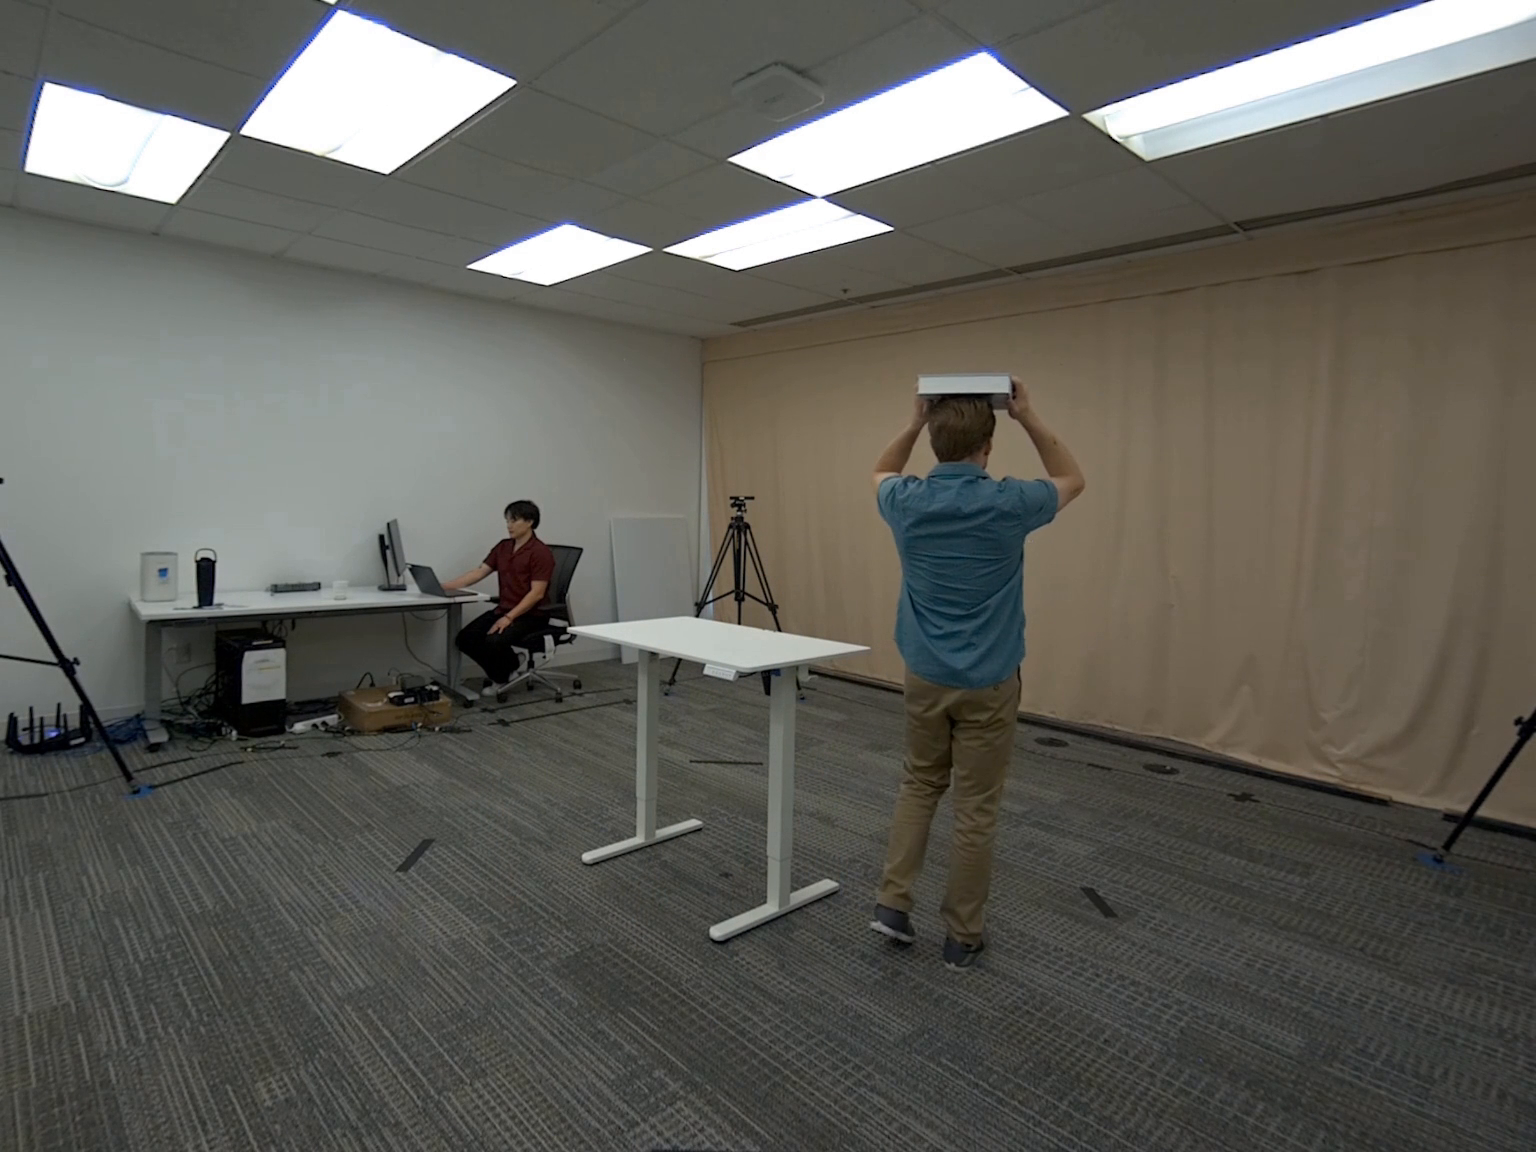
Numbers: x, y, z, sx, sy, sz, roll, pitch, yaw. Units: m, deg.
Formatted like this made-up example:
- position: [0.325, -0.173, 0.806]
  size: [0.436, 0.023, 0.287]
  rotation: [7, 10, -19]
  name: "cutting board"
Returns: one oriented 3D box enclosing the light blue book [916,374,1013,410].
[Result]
- position: [0.589, -0.542, 2.494]
  size: [0.266, 0.059, 0.187]
  rotation: [4, -4, 22]
  name: "light blue book"
